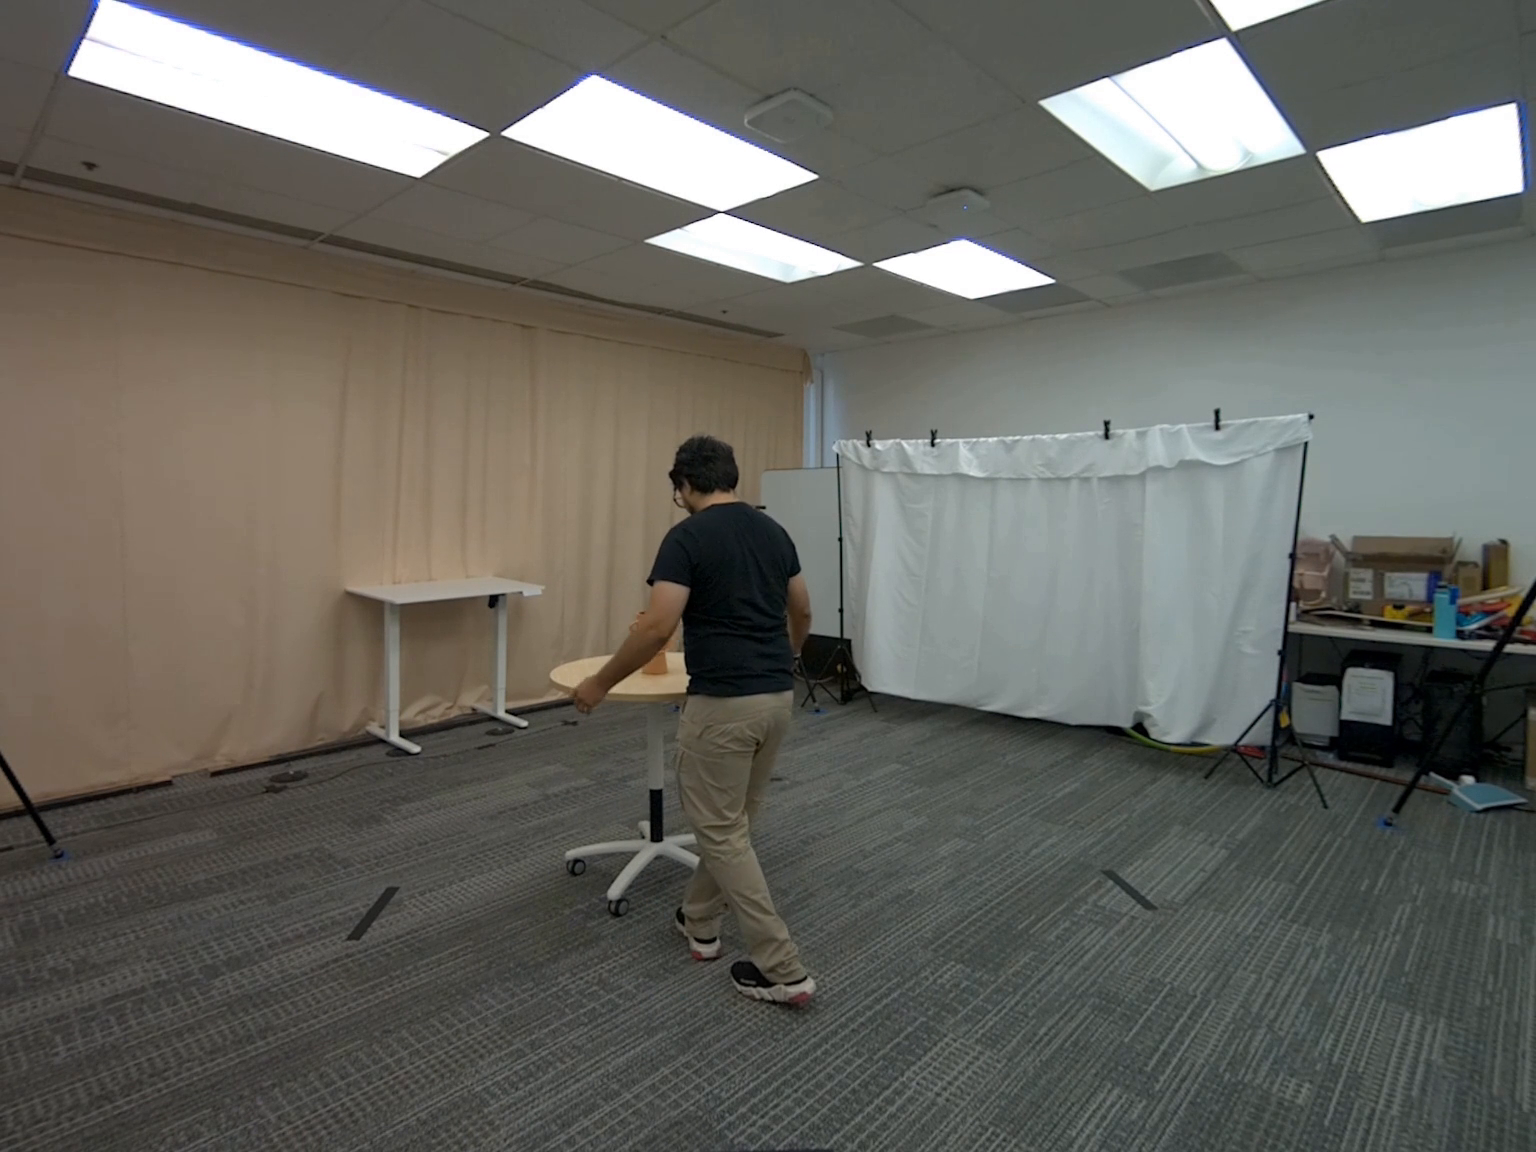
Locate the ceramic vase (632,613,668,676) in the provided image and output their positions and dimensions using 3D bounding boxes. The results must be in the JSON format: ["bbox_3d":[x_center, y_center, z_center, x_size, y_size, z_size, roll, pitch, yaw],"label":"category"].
[{"bbox_3d":[-0.424,0.248,3.090,0.160,0.219,0.134,-1,4,8],"label":"ceramic vase"}]
